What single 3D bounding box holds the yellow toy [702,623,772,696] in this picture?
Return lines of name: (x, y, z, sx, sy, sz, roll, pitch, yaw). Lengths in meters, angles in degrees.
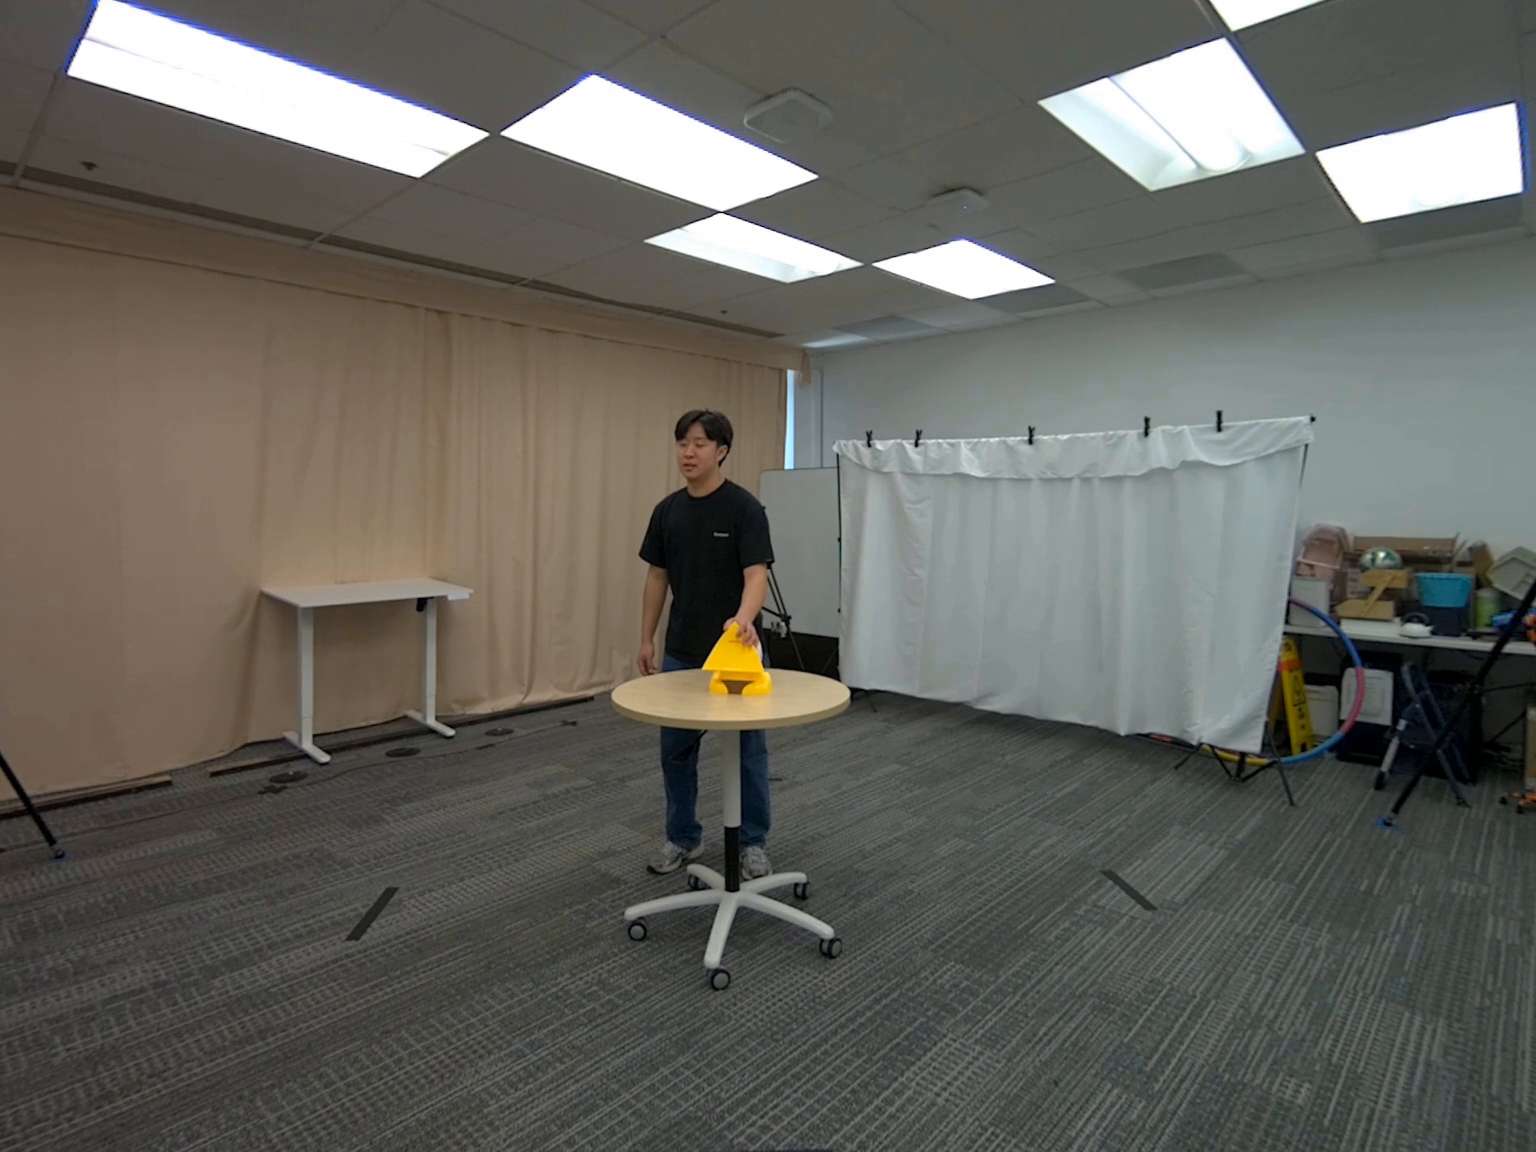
yellow toy: (-0.088, 0.255, 2.730, 0.208, 0.230, 0.190, 1, 4, 16)
